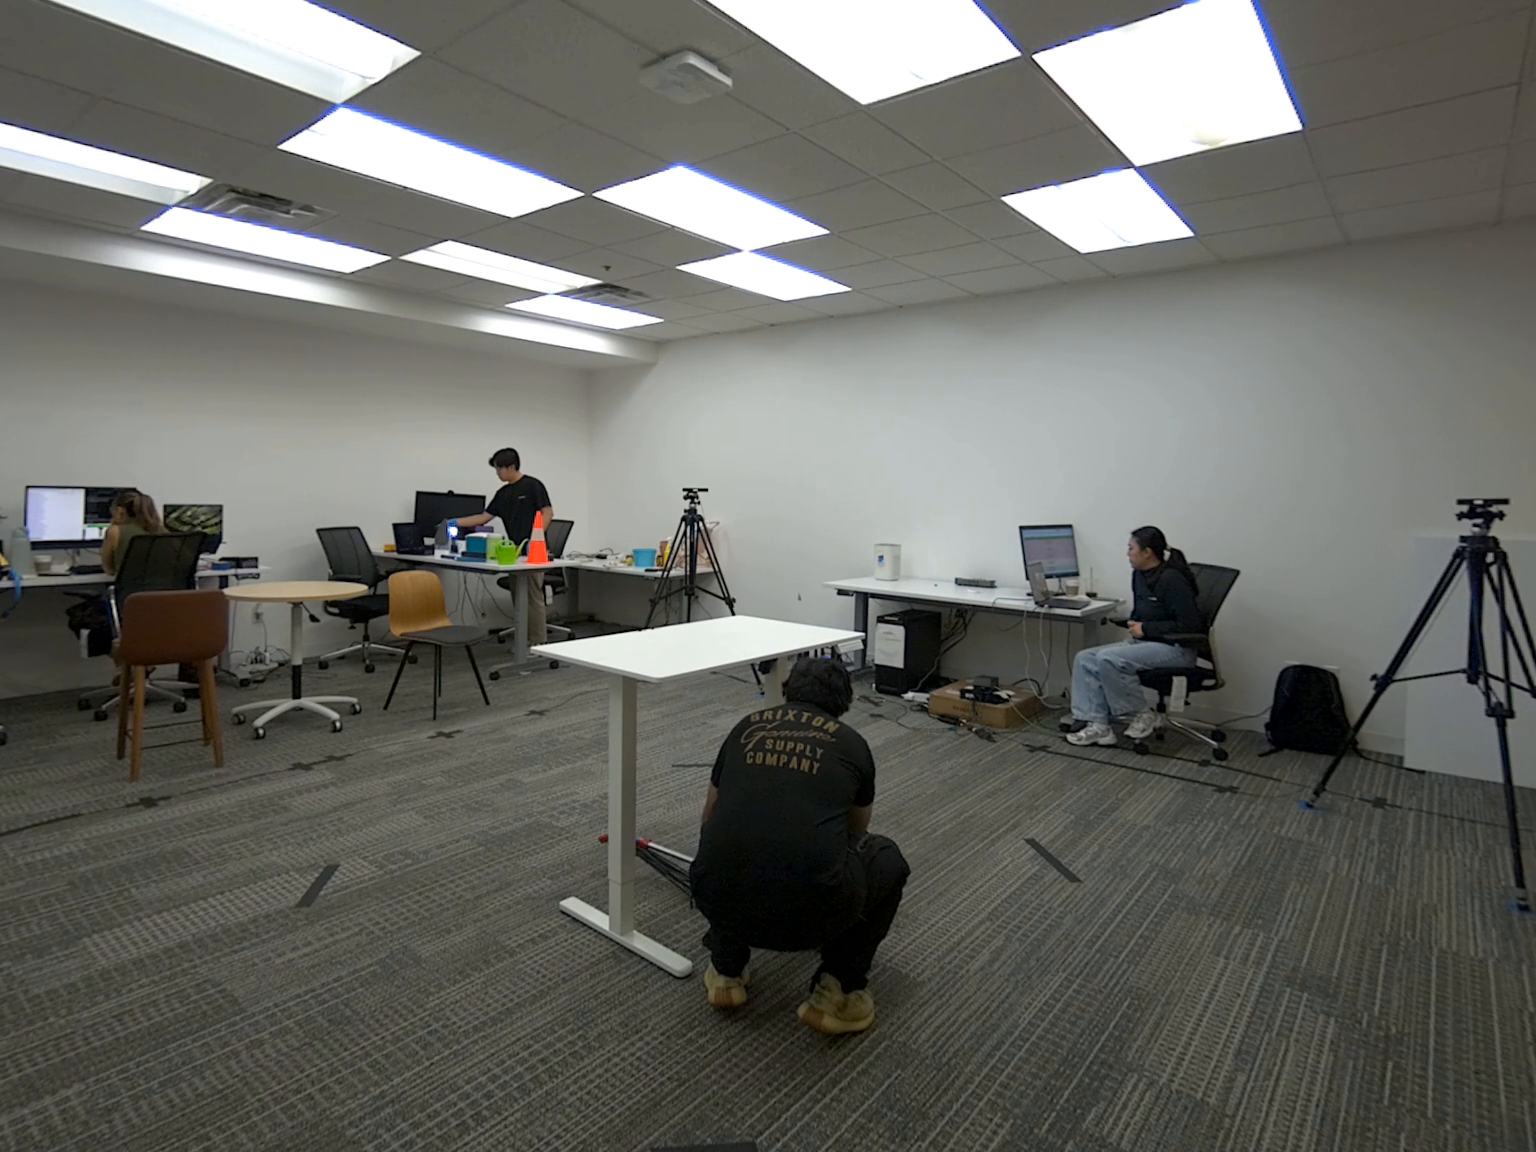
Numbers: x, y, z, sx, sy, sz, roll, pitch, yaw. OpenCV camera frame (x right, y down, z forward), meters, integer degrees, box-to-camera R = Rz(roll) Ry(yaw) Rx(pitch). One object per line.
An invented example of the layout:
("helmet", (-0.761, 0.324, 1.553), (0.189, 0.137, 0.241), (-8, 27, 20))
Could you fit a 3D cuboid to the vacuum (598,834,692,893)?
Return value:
("vacuum", (-0.185, 1.025, 2.860), (1.084, 0.143, 0.245), (5, 5, 36))
